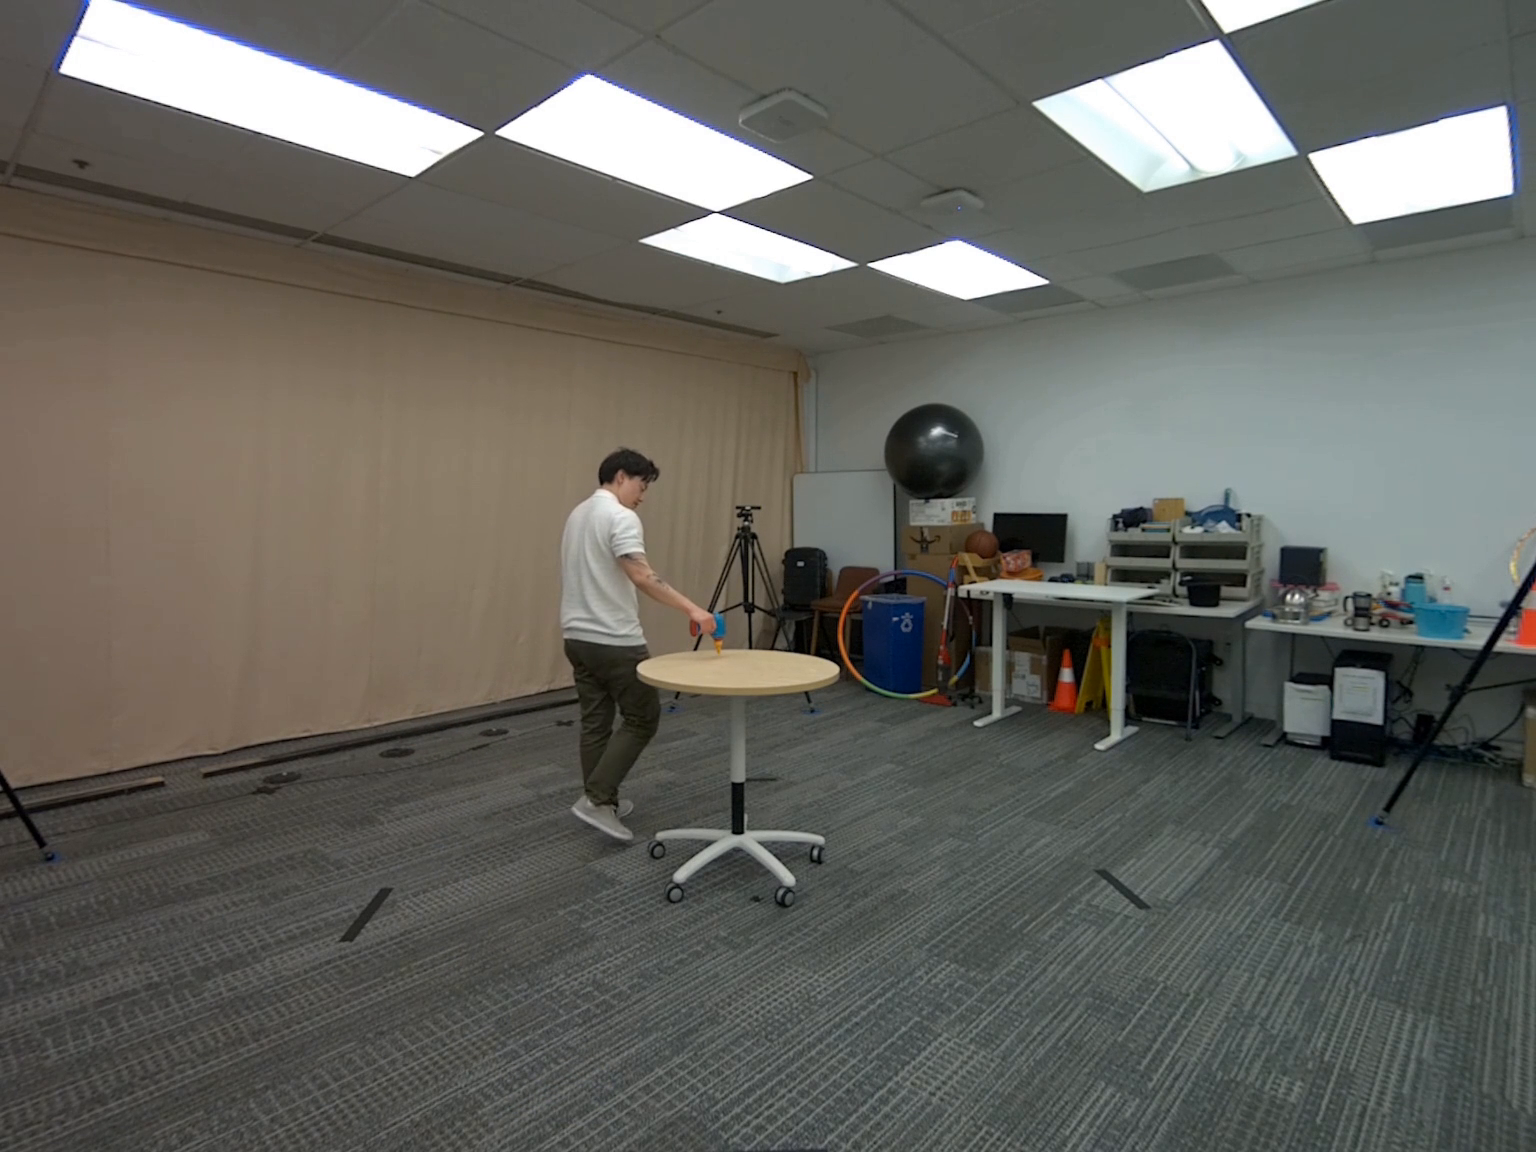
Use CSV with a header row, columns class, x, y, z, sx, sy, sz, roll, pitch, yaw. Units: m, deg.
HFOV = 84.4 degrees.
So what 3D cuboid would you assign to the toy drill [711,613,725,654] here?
class,x,y,z,sx,sy,sz,roll,pitch,yaw
toy drill,-0.234,0.237,3.385,0.143,0.169,0.063,-5,9,-23
